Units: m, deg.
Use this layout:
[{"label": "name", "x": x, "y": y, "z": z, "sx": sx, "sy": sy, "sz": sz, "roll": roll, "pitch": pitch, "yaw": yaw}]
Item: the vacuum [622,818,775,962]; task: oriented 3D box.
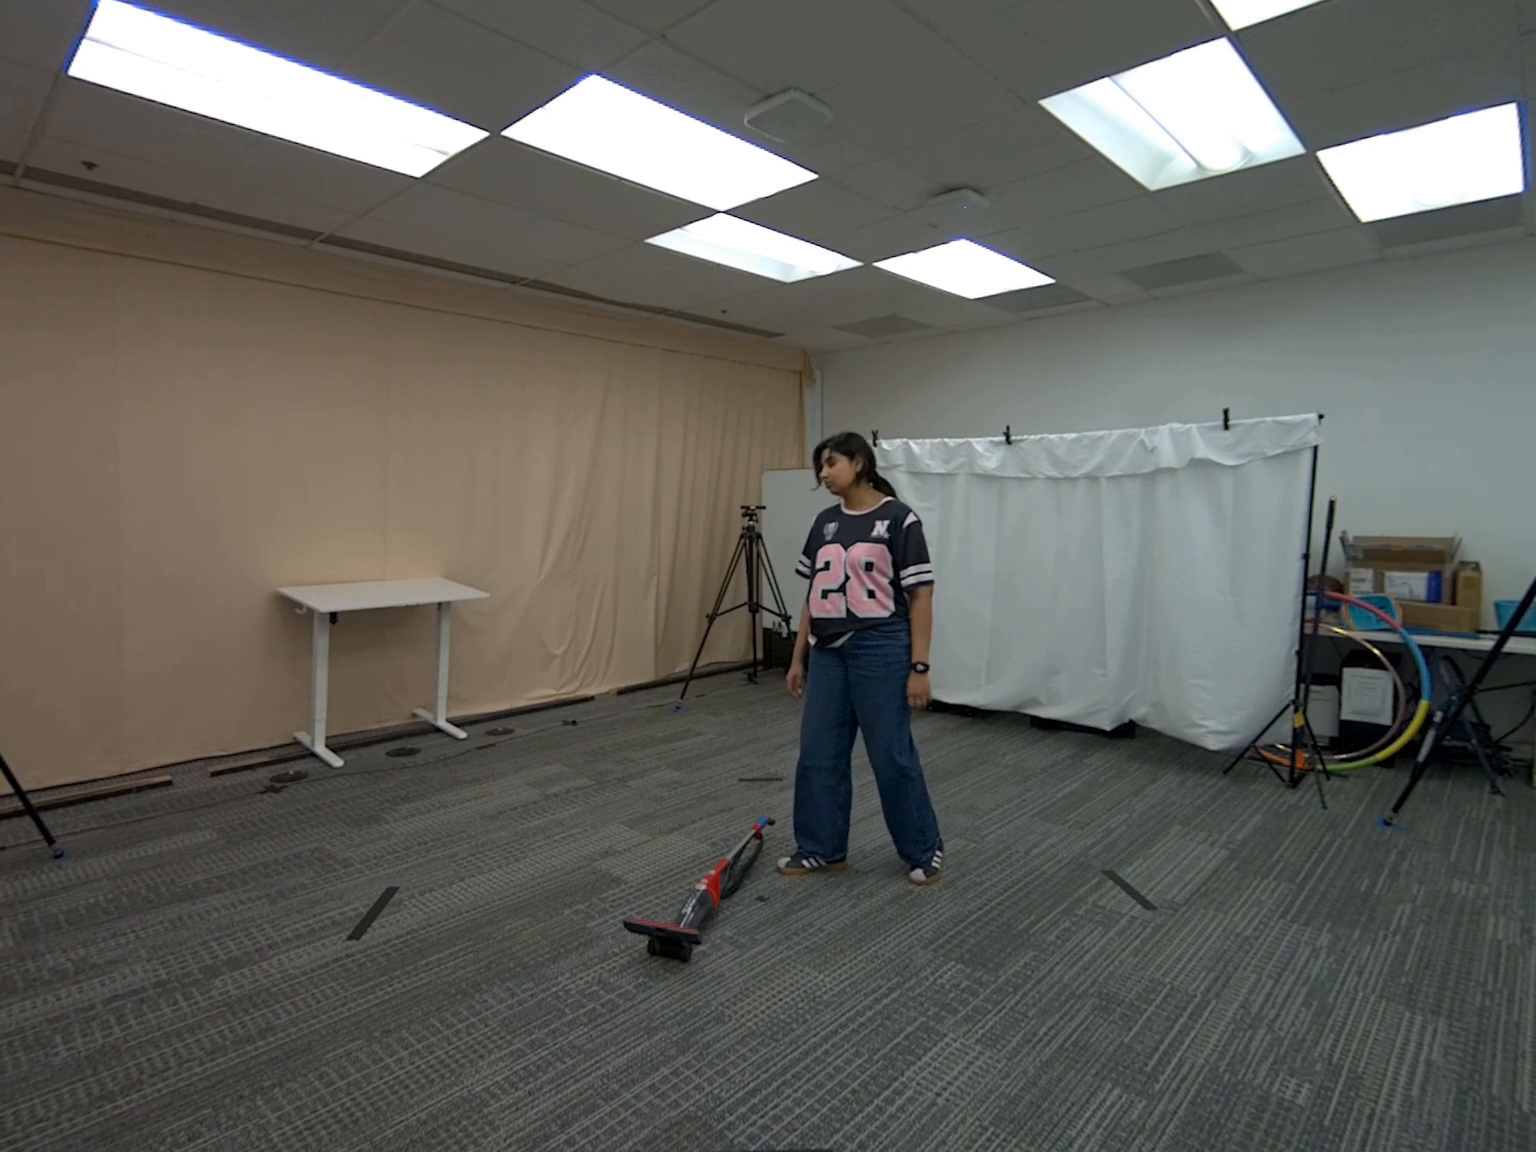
[{"label": "vacuum", "x": -0.143, "y": 1.074, "z": 3.045, "sx": 0.258, "sy": 0.143, "sz": 1.029, "roll": 1, "pitch": 5, "yaw": 19}]
